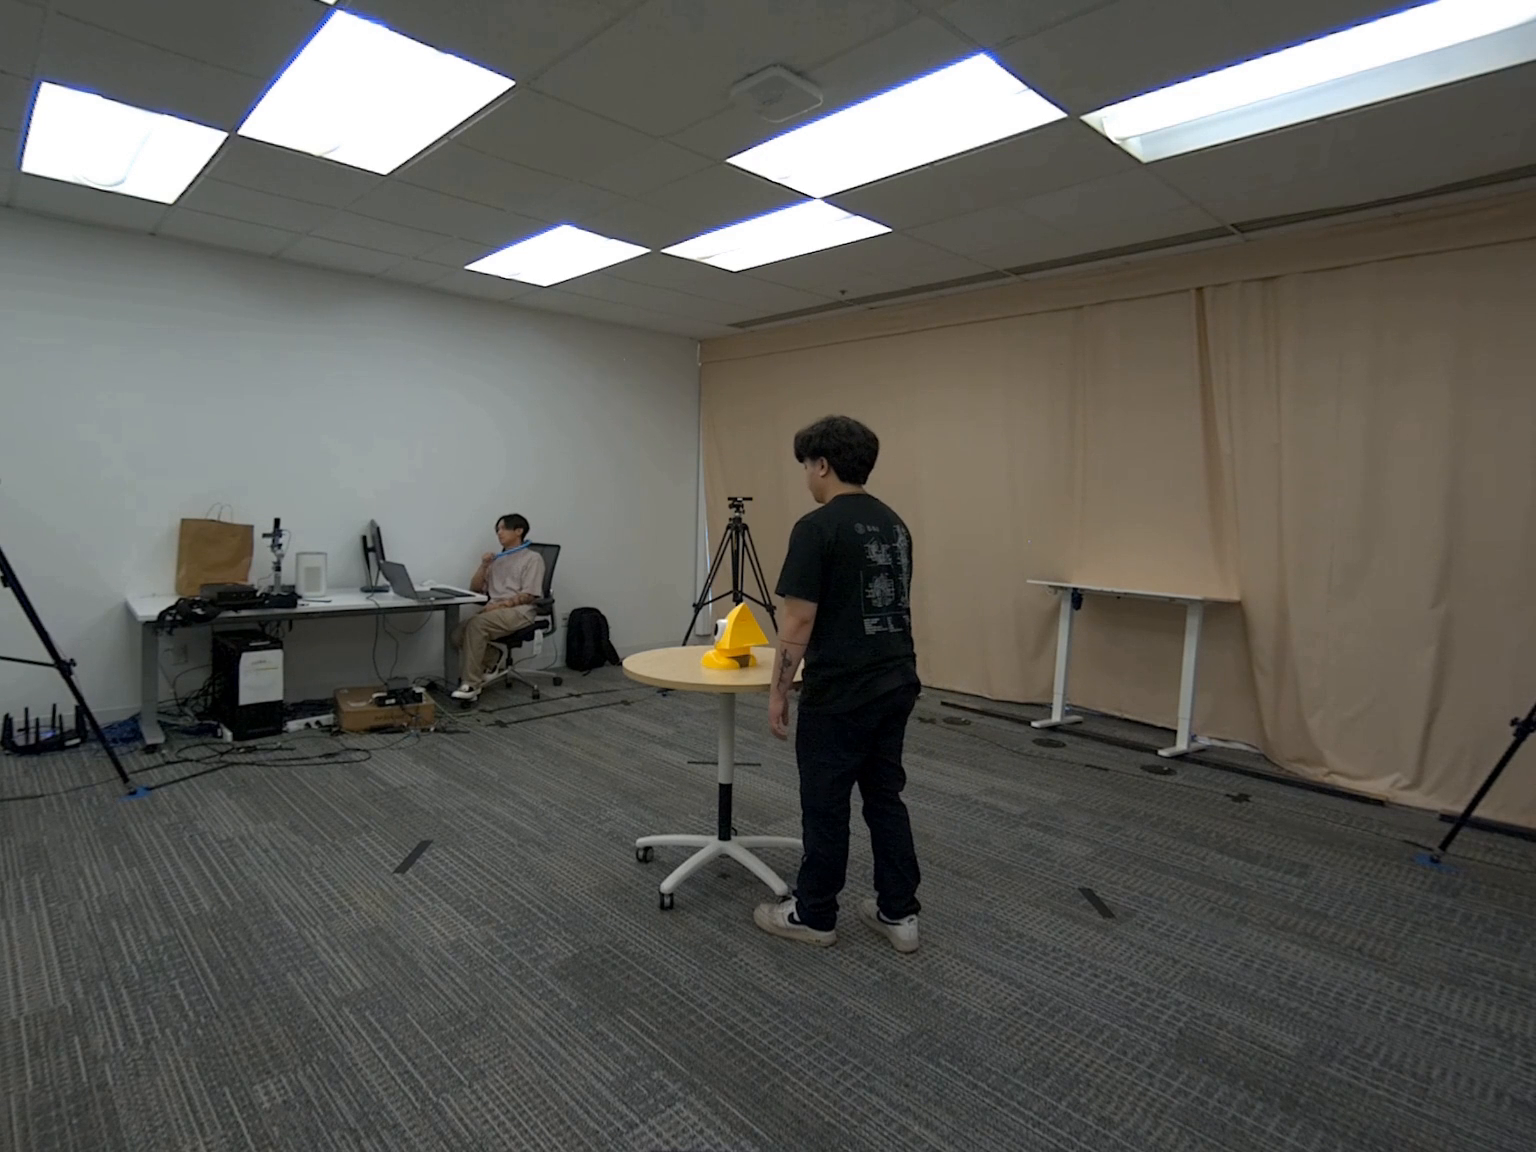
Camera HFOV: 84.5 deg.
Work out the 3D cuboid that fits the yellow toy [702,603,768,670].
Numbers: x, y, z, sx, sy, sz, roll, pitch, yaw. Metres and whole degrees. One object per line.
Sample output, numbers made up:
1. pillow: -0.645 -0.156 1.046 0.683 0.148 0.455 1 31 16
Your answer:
1. yellow toy: -0.140 0.205 3.031 0.198 0.230 0.200 4 4 44
